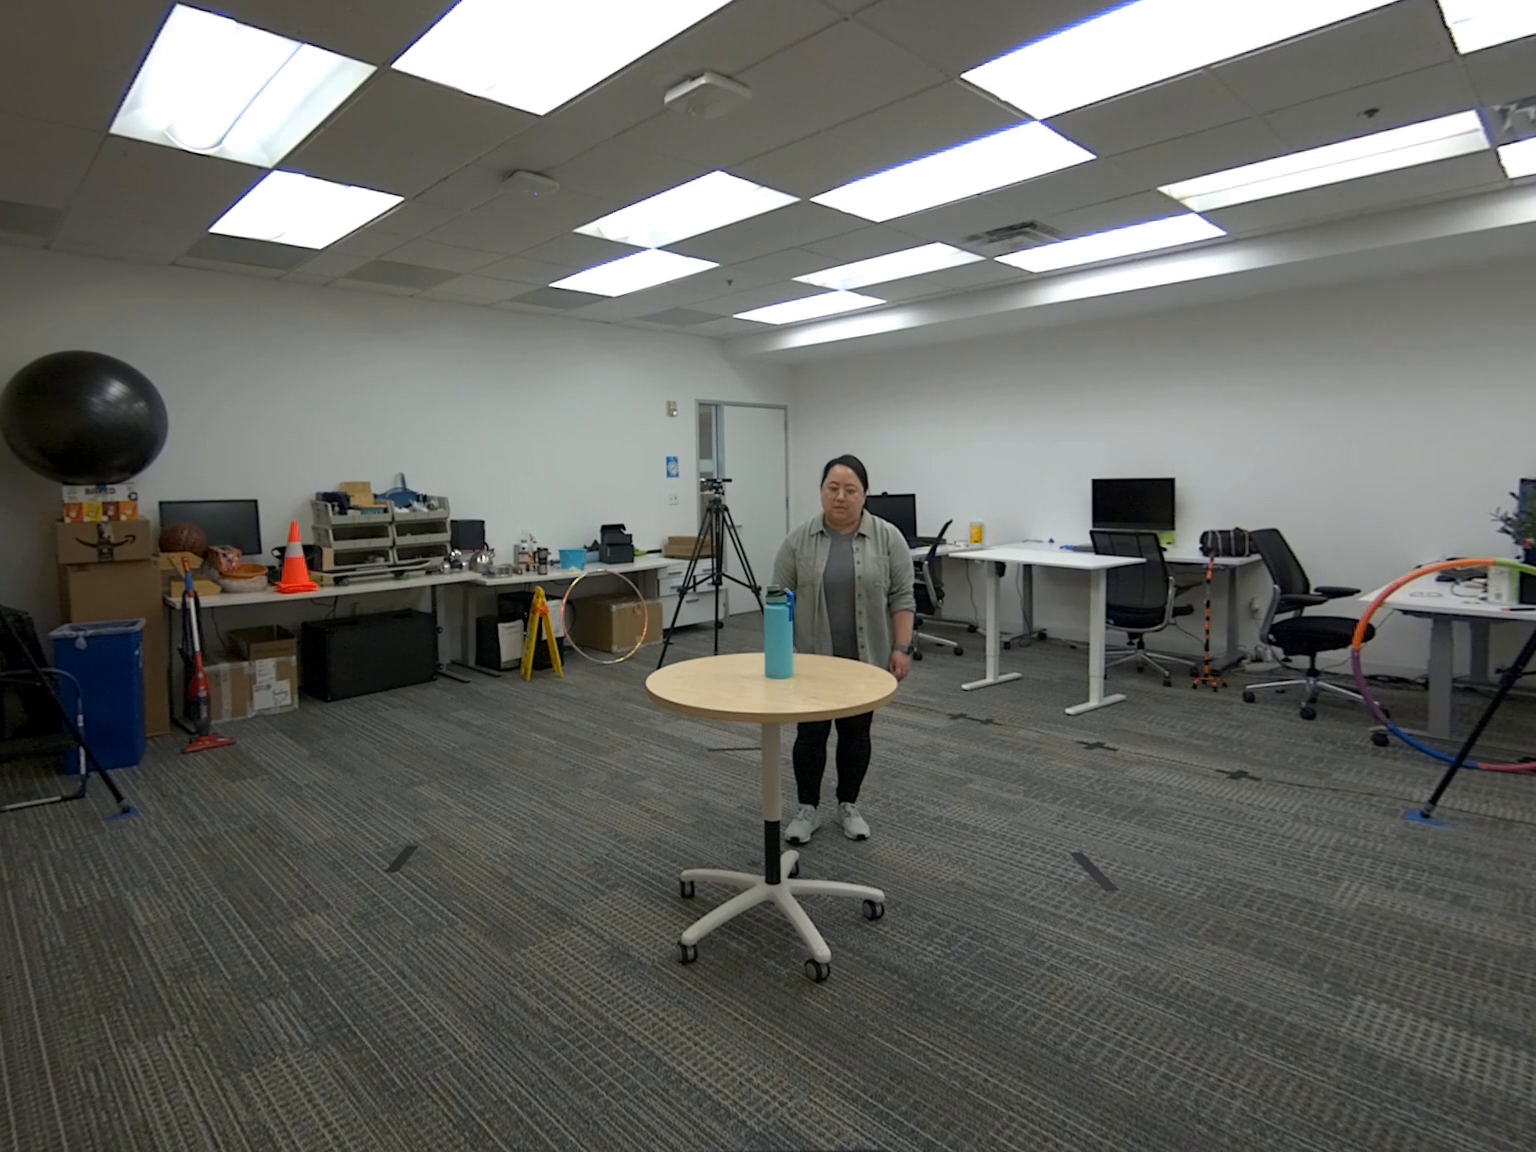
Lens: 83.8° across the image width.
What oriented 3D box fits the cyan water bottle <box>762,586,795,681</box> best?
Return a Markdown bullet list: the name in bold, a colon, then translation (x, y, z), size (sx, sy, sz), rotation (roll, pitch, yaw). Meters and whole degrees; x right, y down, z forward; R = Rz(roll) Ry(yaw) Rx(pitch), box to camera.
- **cyan water bottle**: translation (0.040, 0.174, 2.644), size (0.092, 0.282, 0.093), rotation (0, 3, -2)
